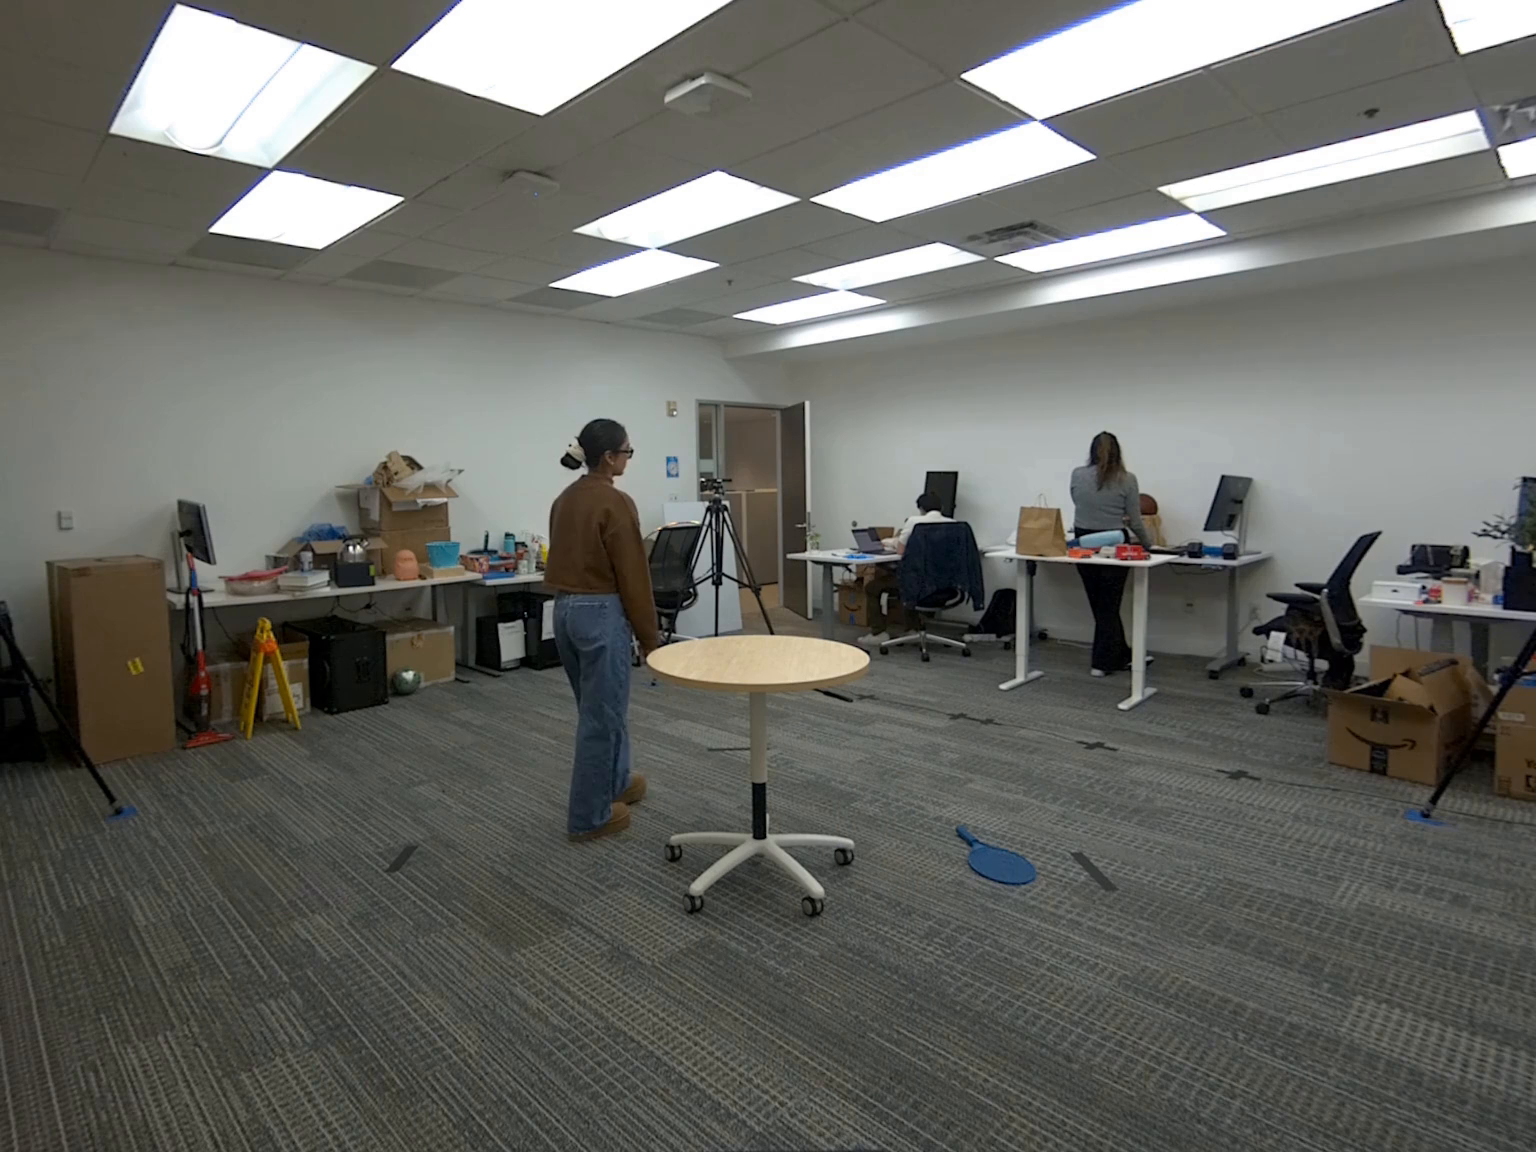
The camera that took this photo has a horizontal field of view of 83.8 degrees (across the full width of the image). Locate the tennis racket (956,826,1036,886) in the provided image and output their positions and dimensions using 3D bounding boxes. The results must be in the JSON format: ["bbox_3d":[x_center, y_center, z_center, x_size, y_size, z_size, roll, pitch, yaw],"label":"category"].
[{"bbox_3d":[0.818,1.018,3.121,0.211,0.031,0.440,-2,8,-13],"label":"tennis racket"}]
